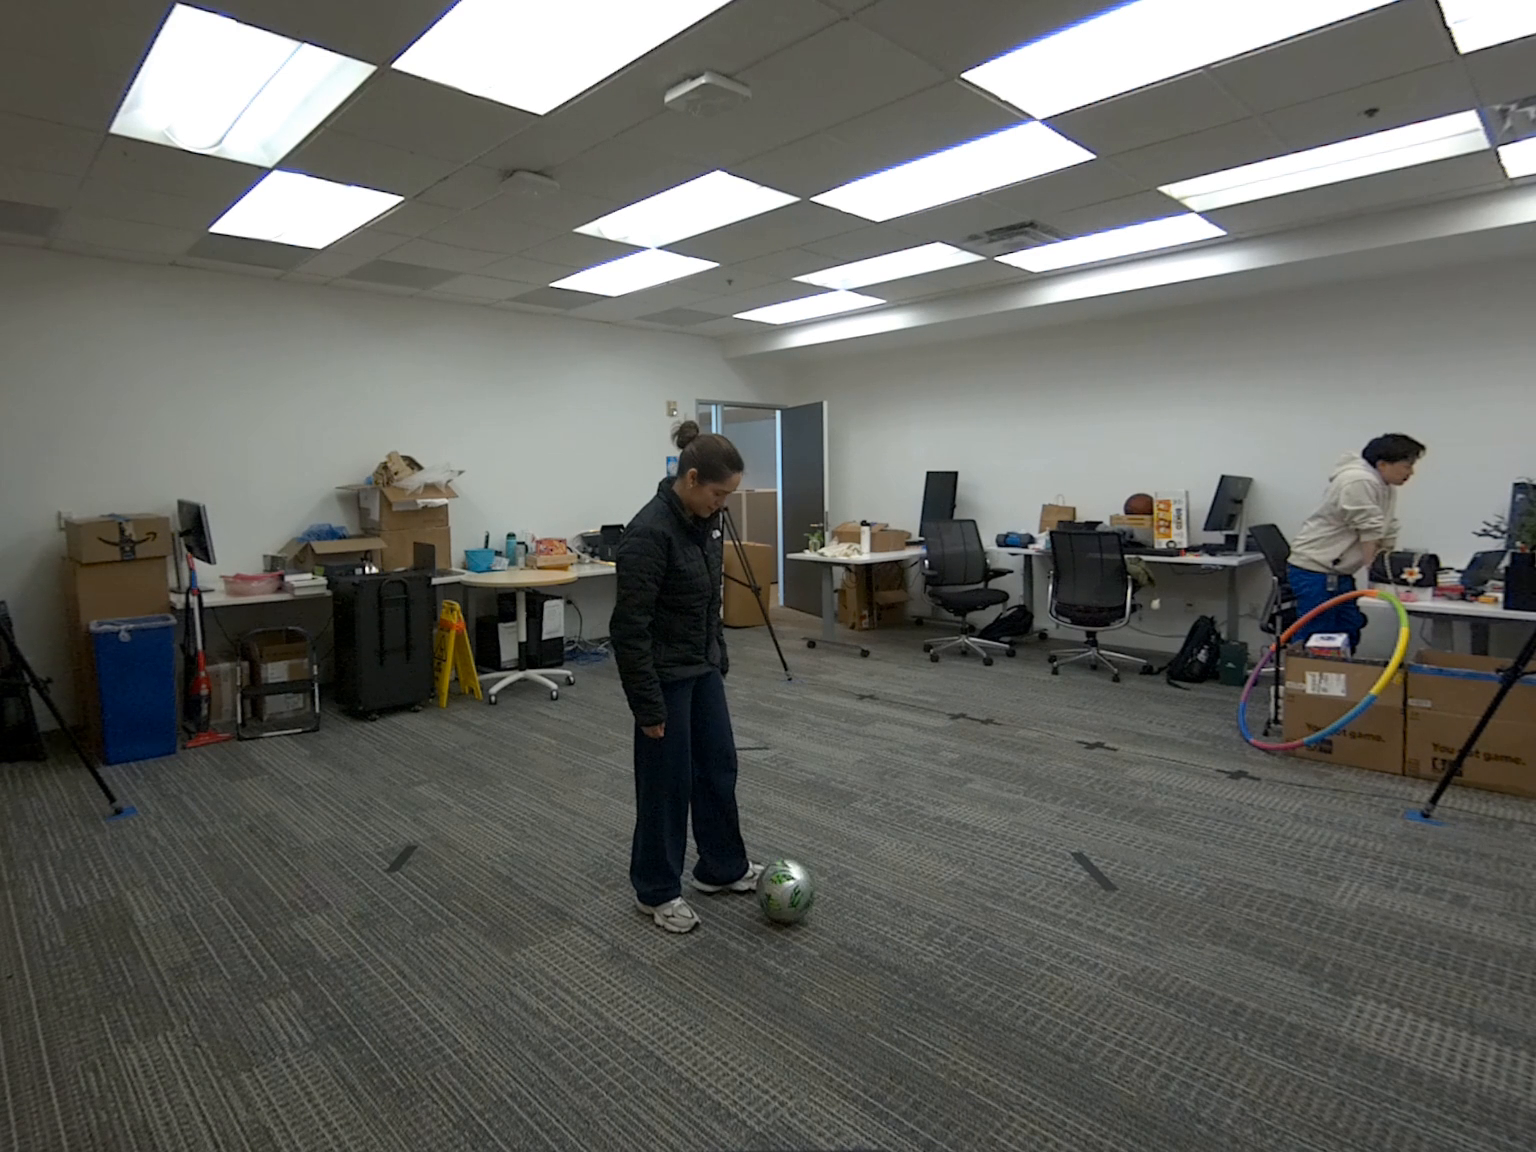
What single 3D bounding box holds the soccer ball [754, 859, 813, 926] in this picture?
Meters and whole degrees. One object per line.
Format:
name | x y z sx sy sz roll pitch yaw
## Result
soccer ball | 0.055 0.993 2.701 0.187 0.187 0.188 -1 5 -2
